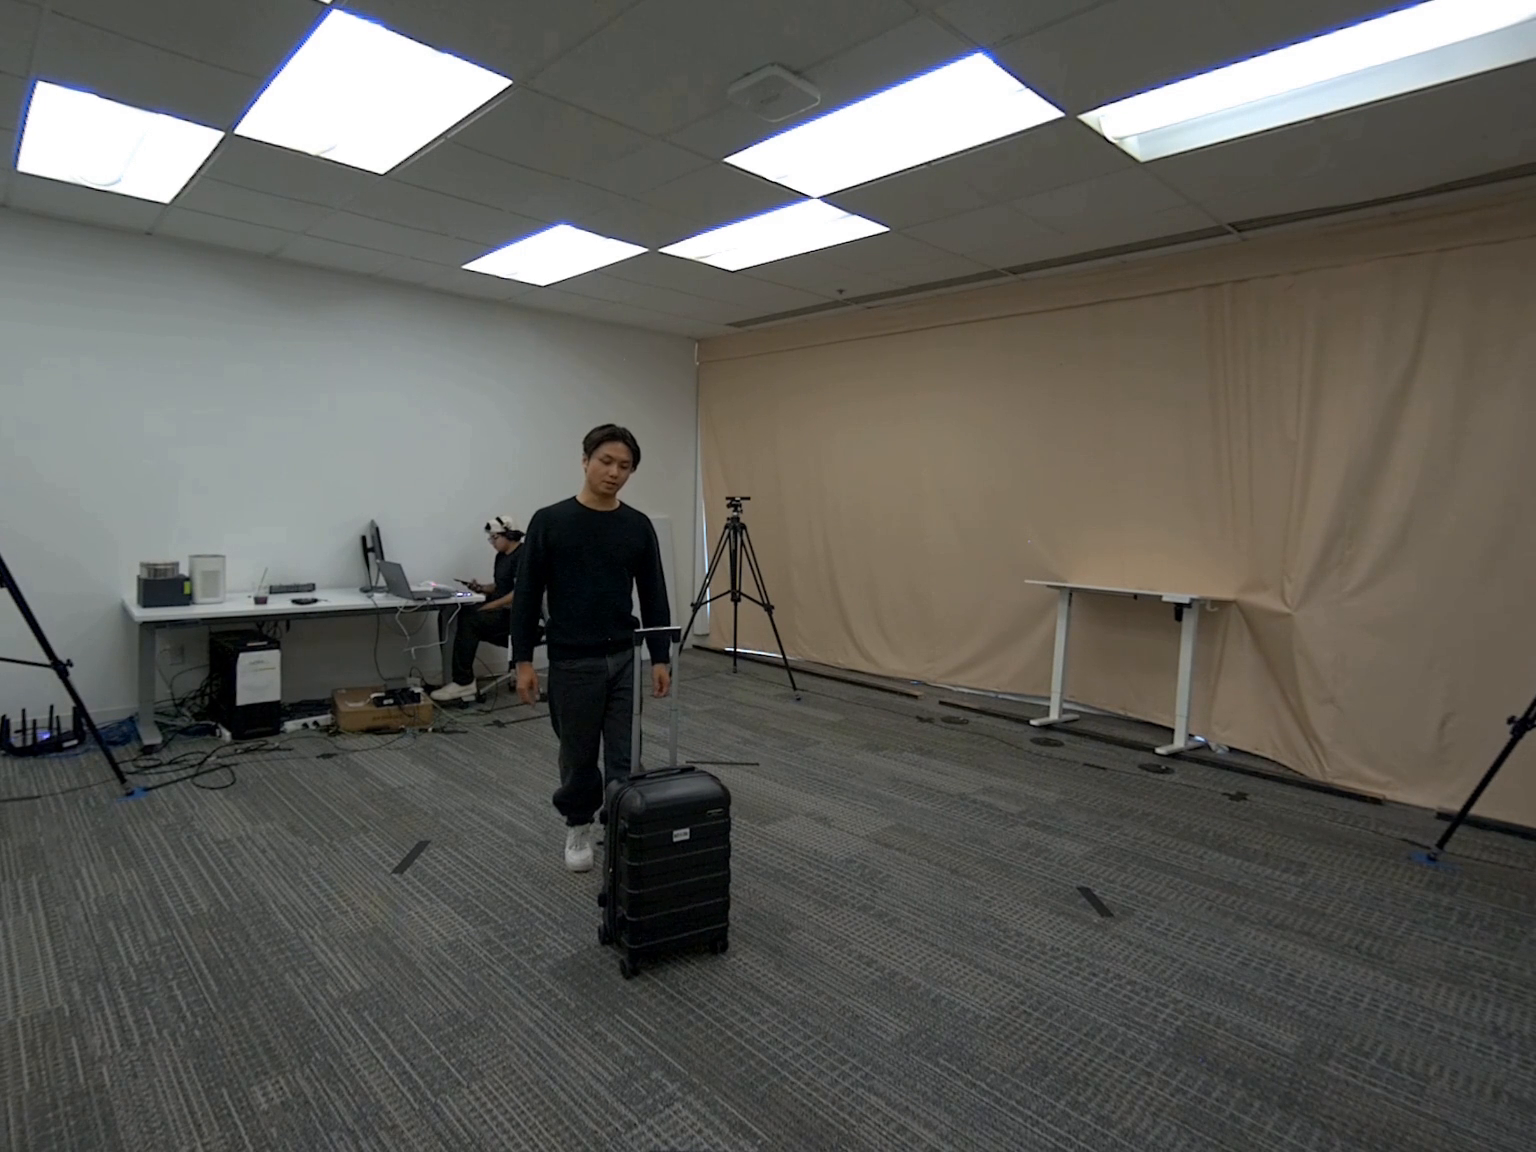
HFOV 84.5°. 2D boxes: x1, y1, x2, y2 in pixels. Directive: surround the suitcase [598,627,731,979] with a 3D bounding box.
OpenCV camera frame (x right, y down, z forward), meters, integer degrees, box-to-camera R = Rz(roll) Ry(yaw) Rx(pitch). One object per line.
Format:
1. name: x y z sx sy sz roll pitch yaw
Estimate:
1. suitcase: -0.304 0.679 2.547 0.377 0.975 0.263 0 5 -28
